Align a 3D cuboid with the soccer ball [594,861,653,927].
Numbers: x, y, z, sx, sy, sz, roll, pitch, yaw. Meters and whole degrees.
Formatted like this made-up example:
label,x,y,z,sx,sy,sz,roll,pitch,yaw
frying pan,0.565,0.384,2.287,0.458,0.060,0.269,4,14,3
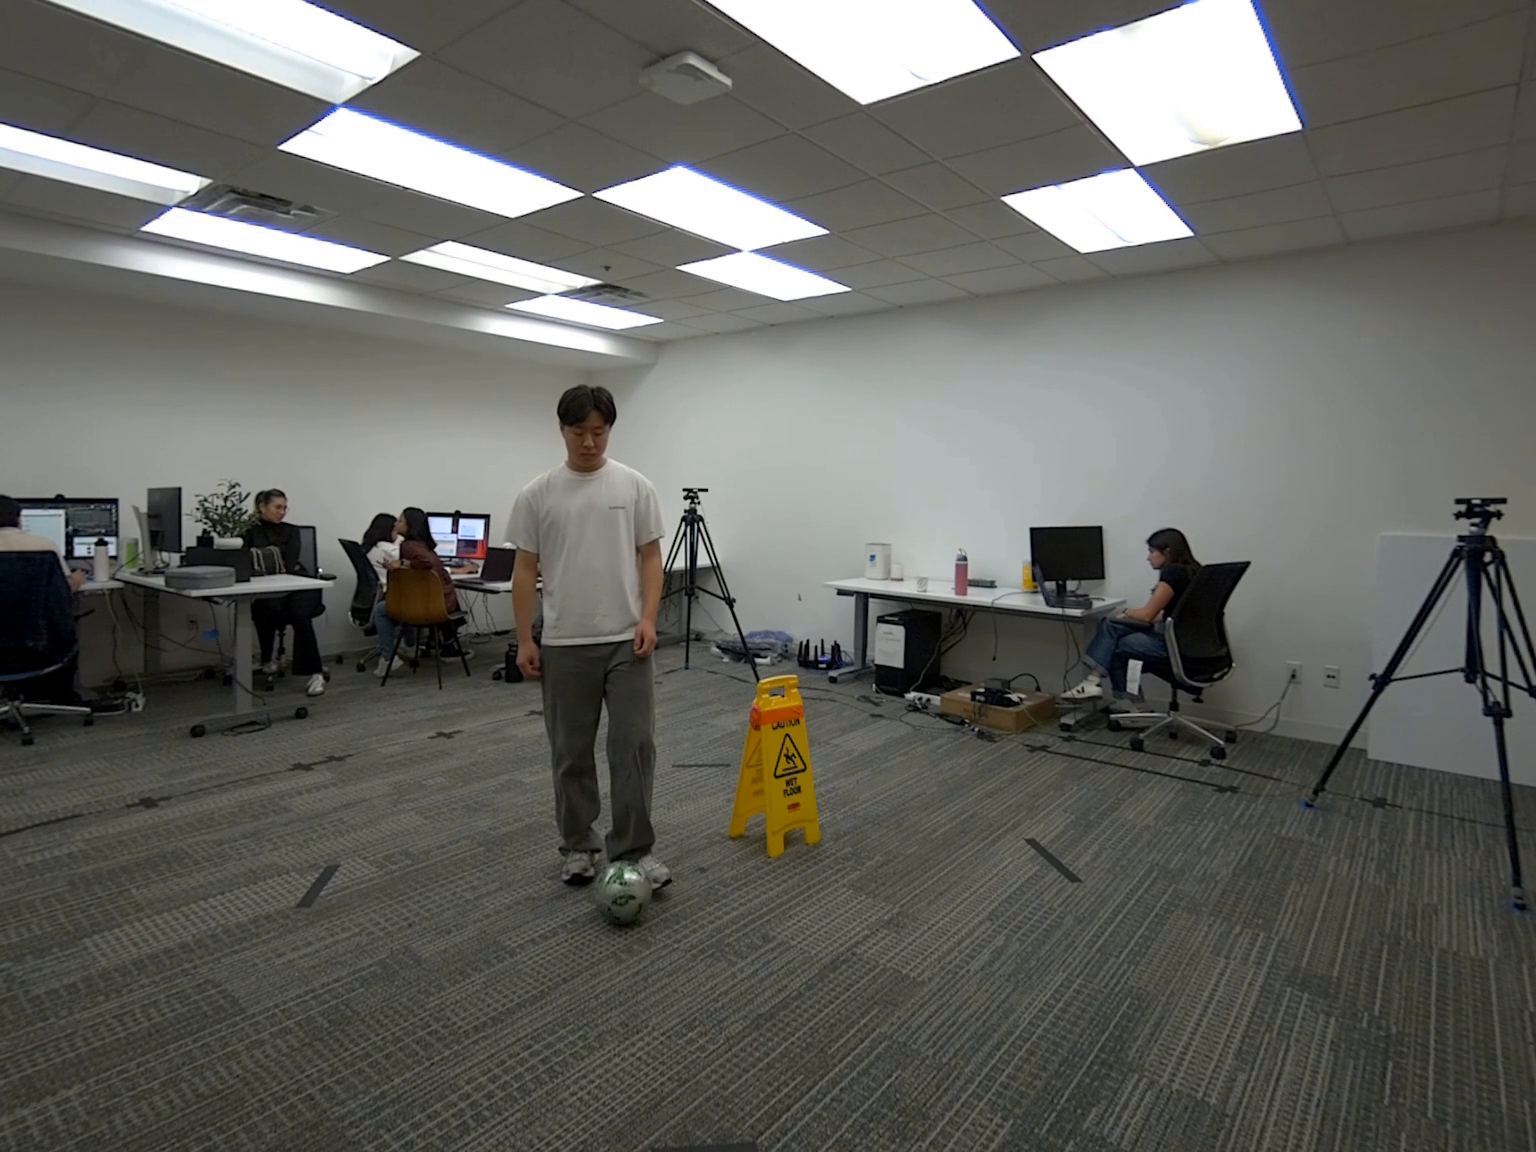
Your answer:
label,x,y,z,sx,sy,sz,roll,pitch,yaw
soccer ball,-0.471,1.004,2.729,0.187,0.187,0.188,1,4,-2
